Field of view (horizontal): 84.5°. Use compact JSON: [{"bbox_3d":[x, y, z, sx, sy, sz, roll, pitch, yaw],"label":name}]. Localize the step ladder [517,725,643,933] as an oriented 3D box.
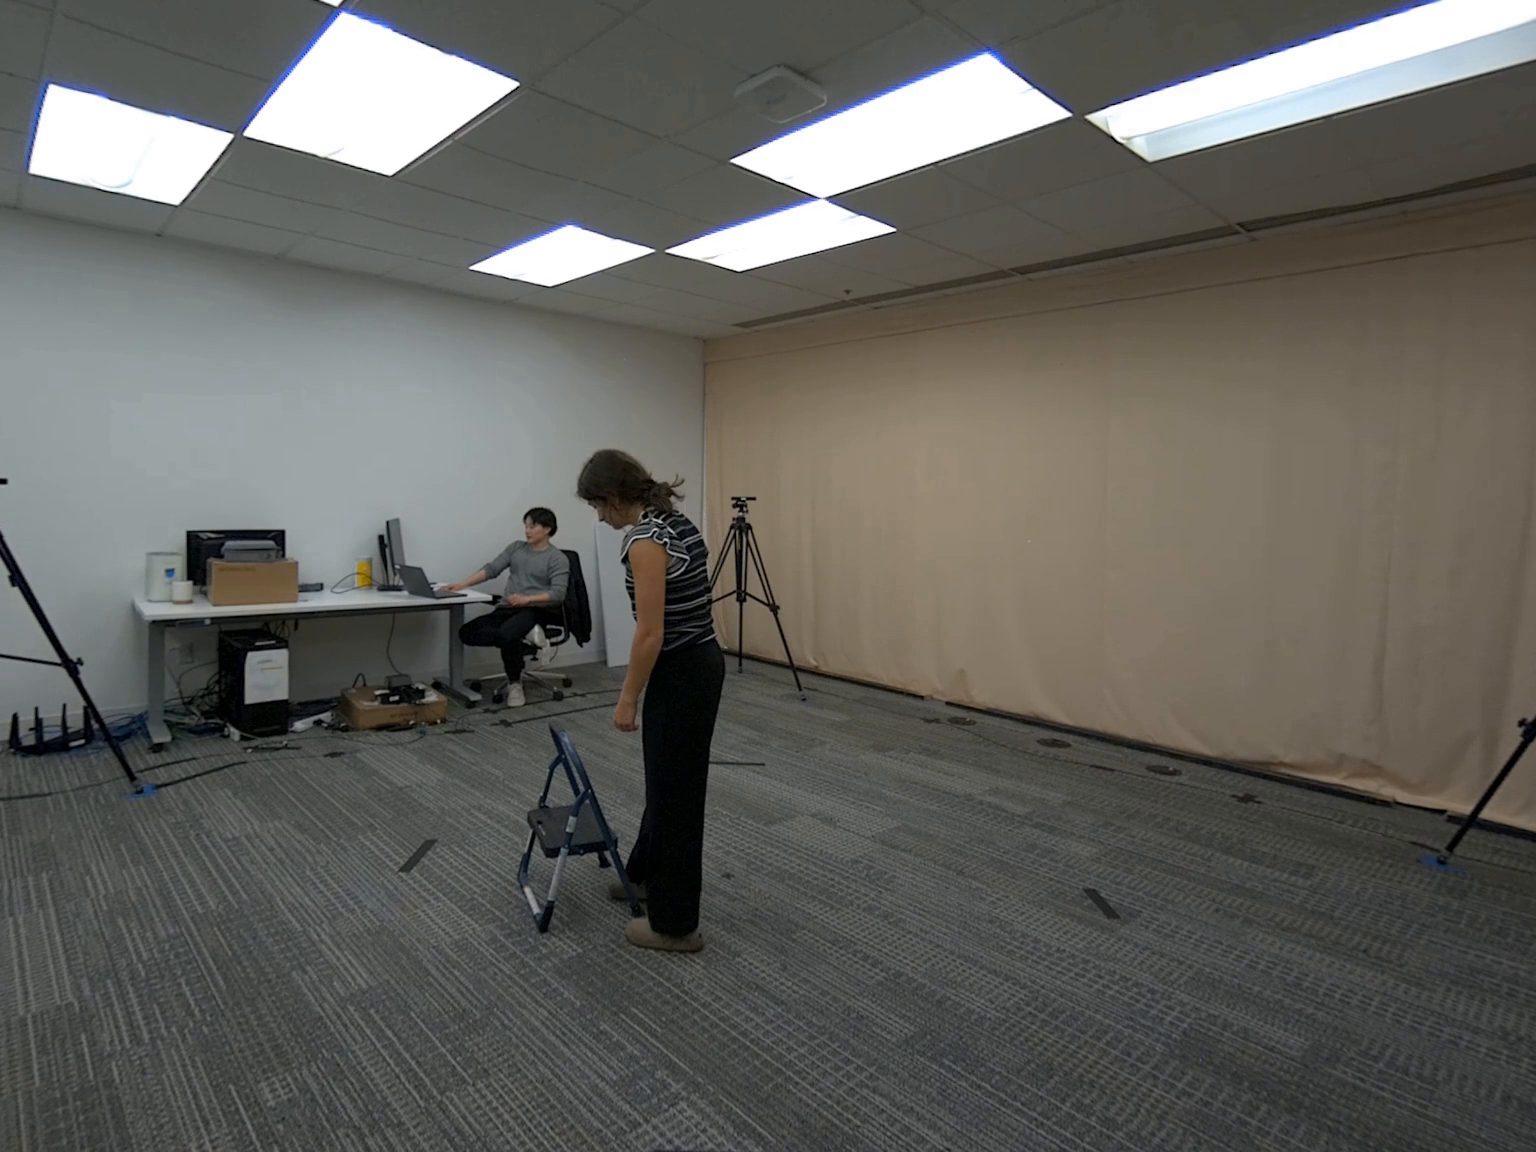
[{"bbox_3d":[-0.661,0.811,2.904,0.343,0.604,0.439,-1,4,-26],"label":"step ladder"}]
